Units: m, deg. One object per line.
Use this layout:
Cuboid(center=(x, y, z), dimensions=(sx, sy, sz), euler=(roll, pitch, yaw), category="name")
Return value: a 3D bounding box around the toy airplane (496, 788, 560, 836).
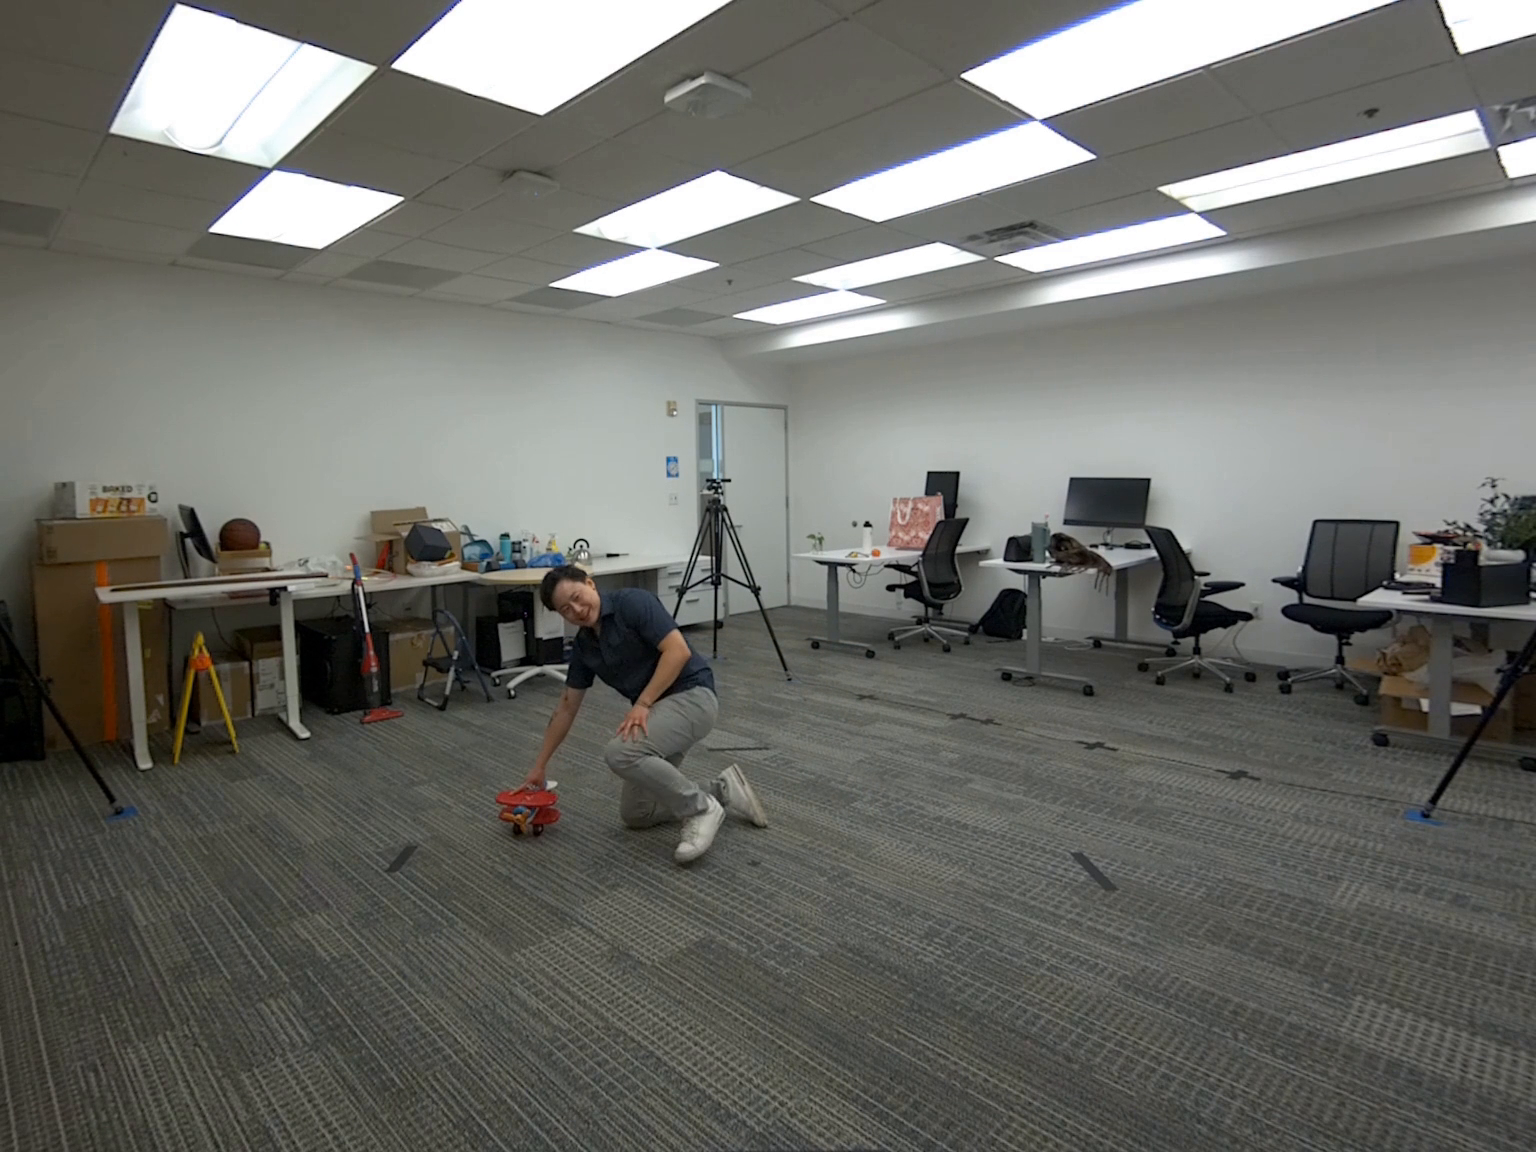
Cuboid(center=(-0.972, 0.922, 3.450), dimensions=(0.249, 0.152, 0.269), euler=(-18, 35, -14), category="toy airplane")
